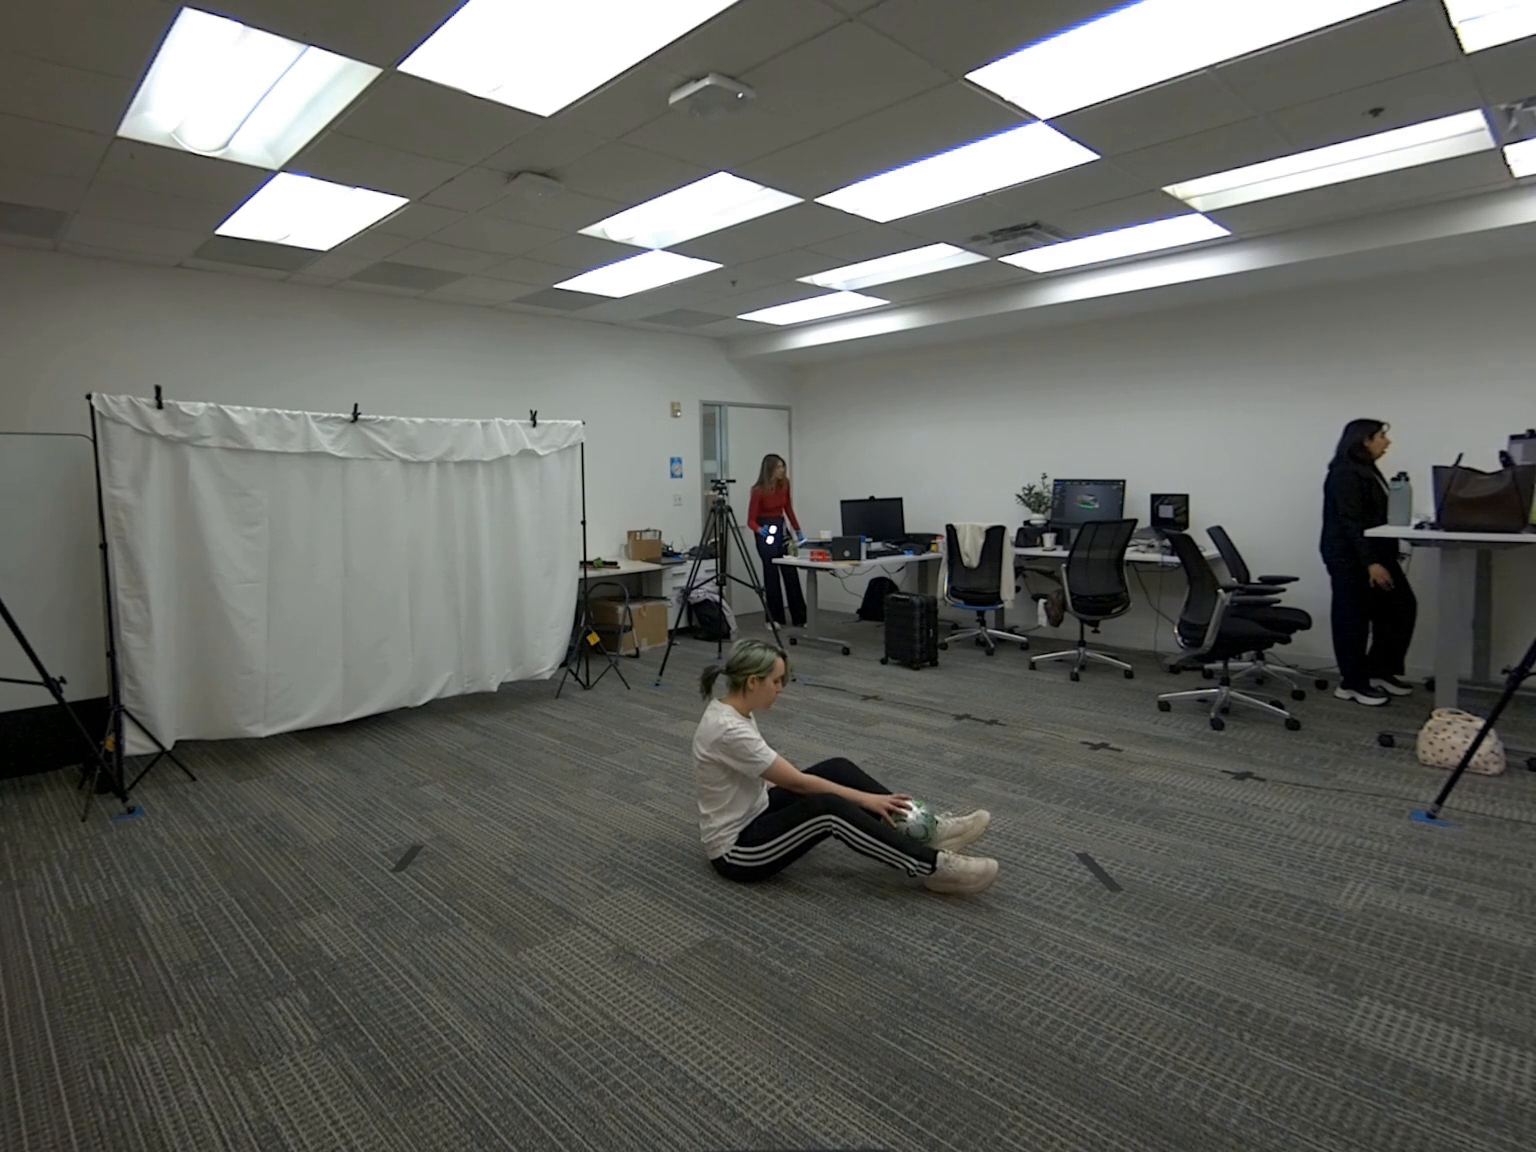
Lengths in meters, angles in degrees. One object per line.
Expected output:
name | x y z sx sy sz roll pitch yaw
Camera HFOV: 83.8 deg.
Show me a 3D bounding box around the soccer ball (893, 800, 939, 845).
soccer ball | 0.482 0.868 2.981 0.187 0.187 0.188 -1 5 -2
